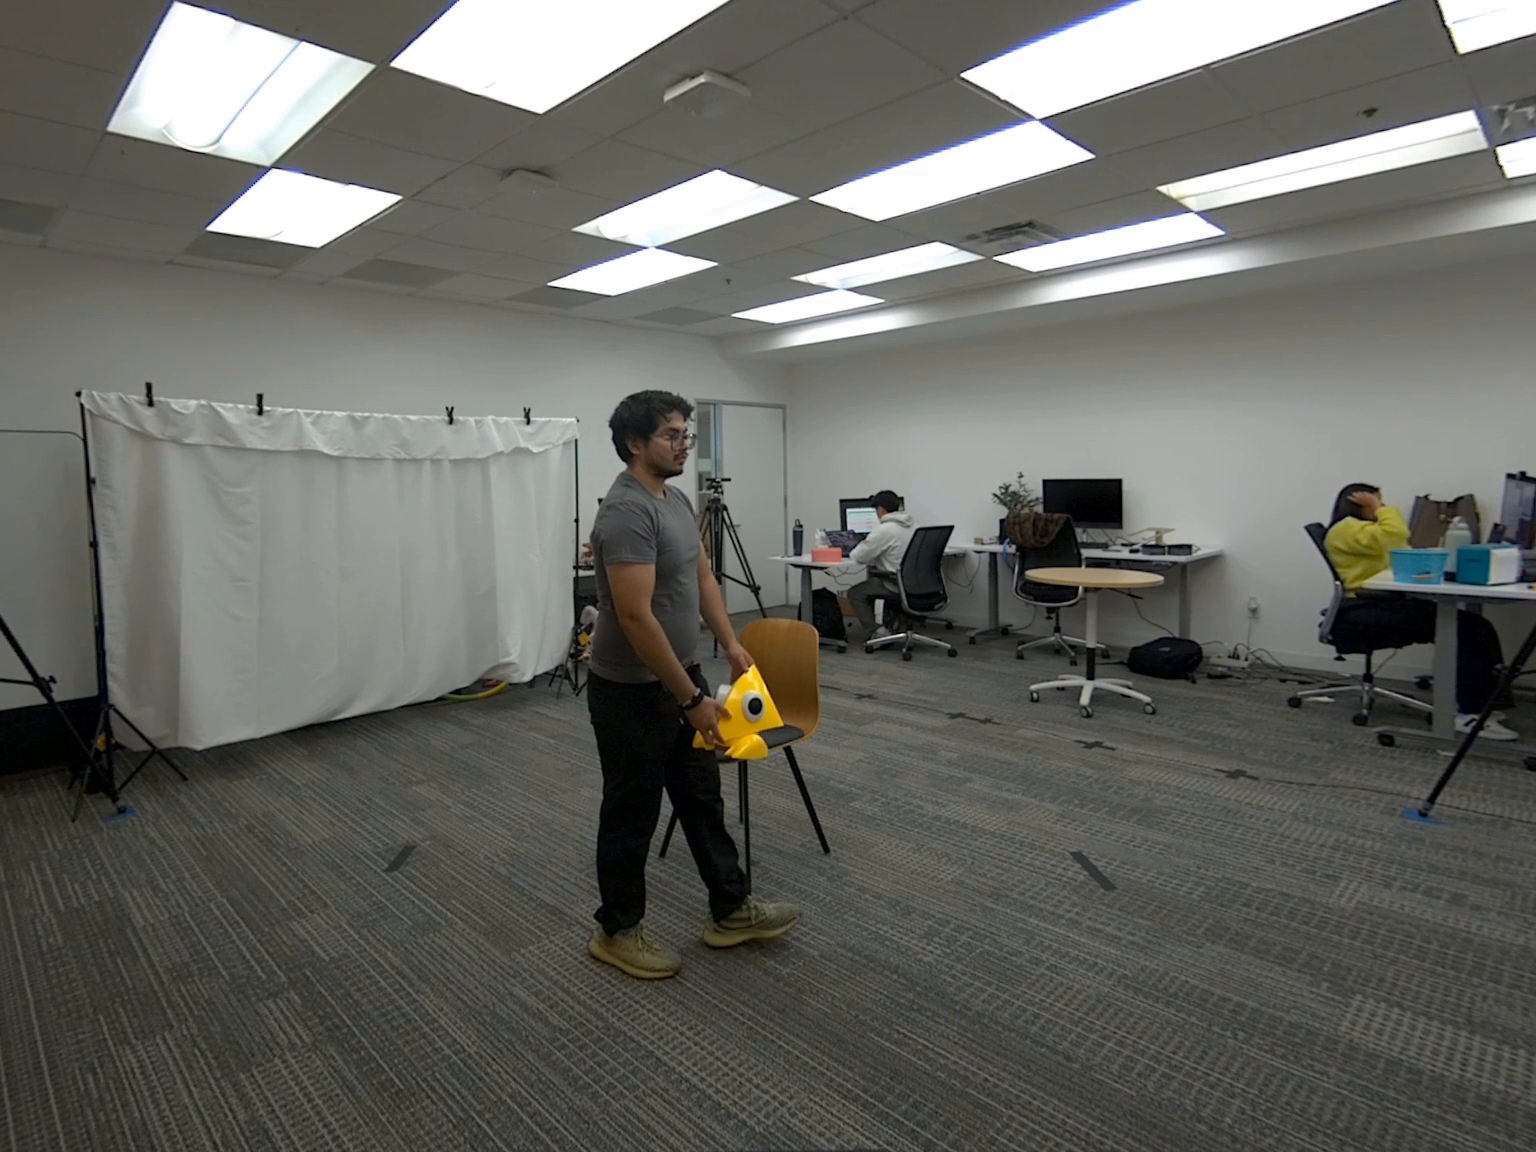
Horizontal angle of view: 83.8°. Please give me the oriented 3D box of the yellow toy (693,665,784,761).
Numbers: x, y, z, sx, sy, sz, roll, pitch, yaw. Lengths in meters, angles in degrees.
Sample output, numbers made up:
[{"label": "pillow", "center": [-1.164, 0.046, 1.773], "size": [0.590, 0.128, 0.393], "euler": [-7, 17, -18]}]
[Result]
[{"label": "yellow toy", "center": [-0.080, 0.360, 2.346], "size": [0.211, 0.231, 0.187], "euler": [7, -2, 33]}]
